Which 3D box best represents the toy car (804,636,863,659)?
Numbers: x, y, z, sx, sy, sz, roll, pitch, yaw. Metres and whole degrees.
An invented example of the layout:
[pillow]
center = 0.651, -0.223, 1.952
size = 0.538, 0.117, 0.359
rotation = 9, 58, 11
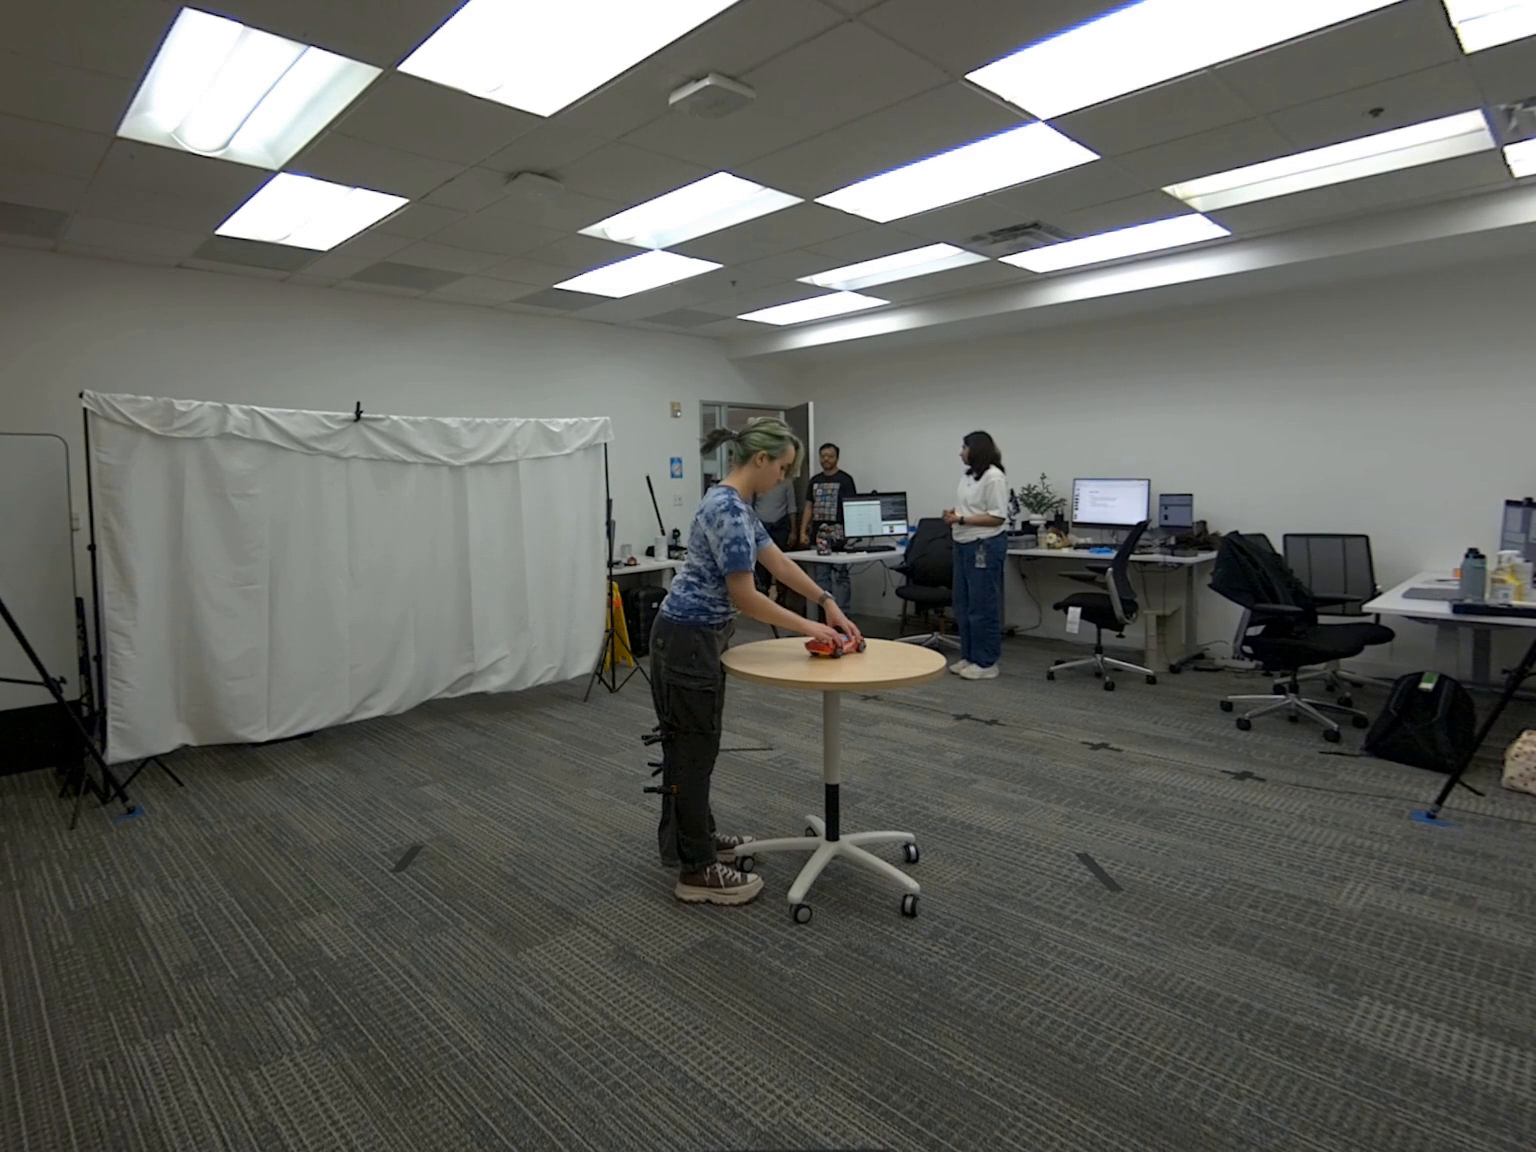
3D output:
[toy car]
center = 0.228, 0.244, 2.976
size = 0.134, 0.083, 0.246
rotation = 5, -3, 42
